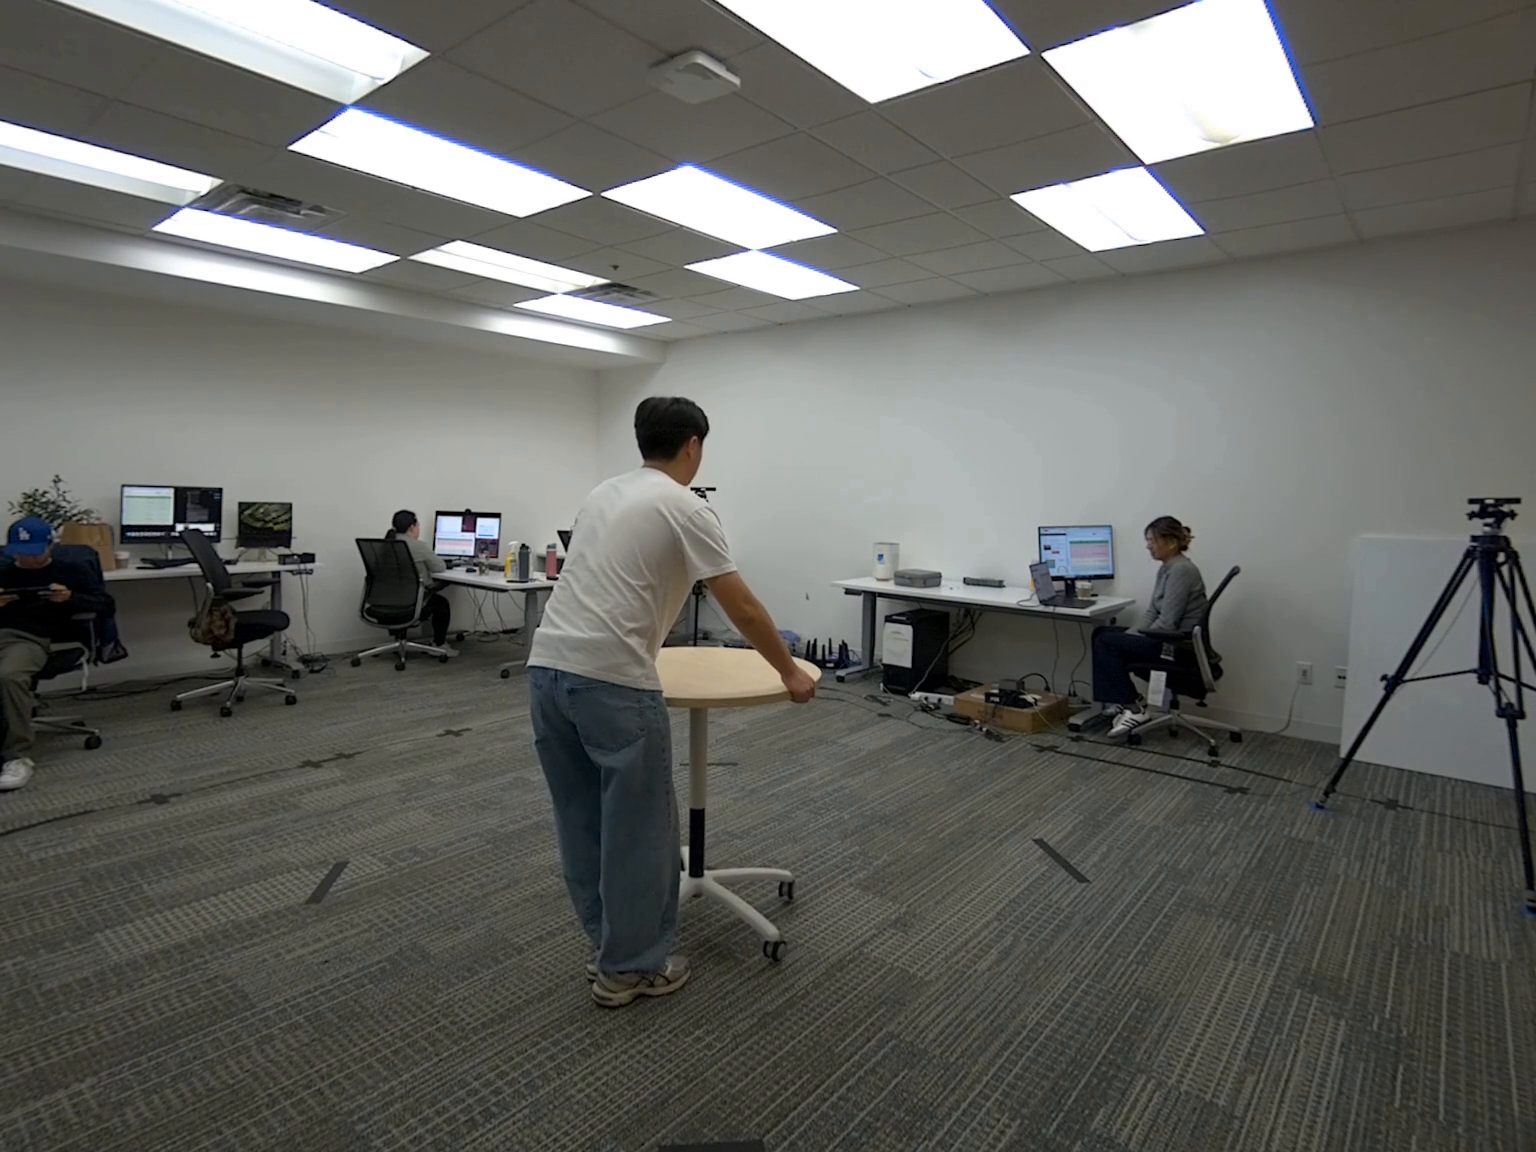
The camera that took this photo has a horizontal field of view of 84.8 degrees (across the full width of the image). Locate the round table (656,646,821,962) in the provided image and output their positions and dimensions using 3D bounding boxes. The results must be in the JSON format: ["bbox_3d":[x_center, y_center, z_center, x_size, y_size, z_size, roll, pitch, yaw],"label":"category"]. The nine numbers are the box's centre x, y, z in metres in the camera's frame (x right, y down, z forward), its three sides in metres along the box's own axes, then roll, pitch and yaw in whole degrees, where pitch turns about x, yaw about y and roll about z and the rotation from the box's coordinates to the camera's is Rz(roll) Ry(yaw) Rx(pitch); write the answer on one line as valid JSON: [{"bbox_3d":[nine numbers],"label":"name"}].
[{"bbox_3d":[-0.226,0.694,2.714,0.763,0.791,0.767,1,4,-2],"label":"round table"}]
